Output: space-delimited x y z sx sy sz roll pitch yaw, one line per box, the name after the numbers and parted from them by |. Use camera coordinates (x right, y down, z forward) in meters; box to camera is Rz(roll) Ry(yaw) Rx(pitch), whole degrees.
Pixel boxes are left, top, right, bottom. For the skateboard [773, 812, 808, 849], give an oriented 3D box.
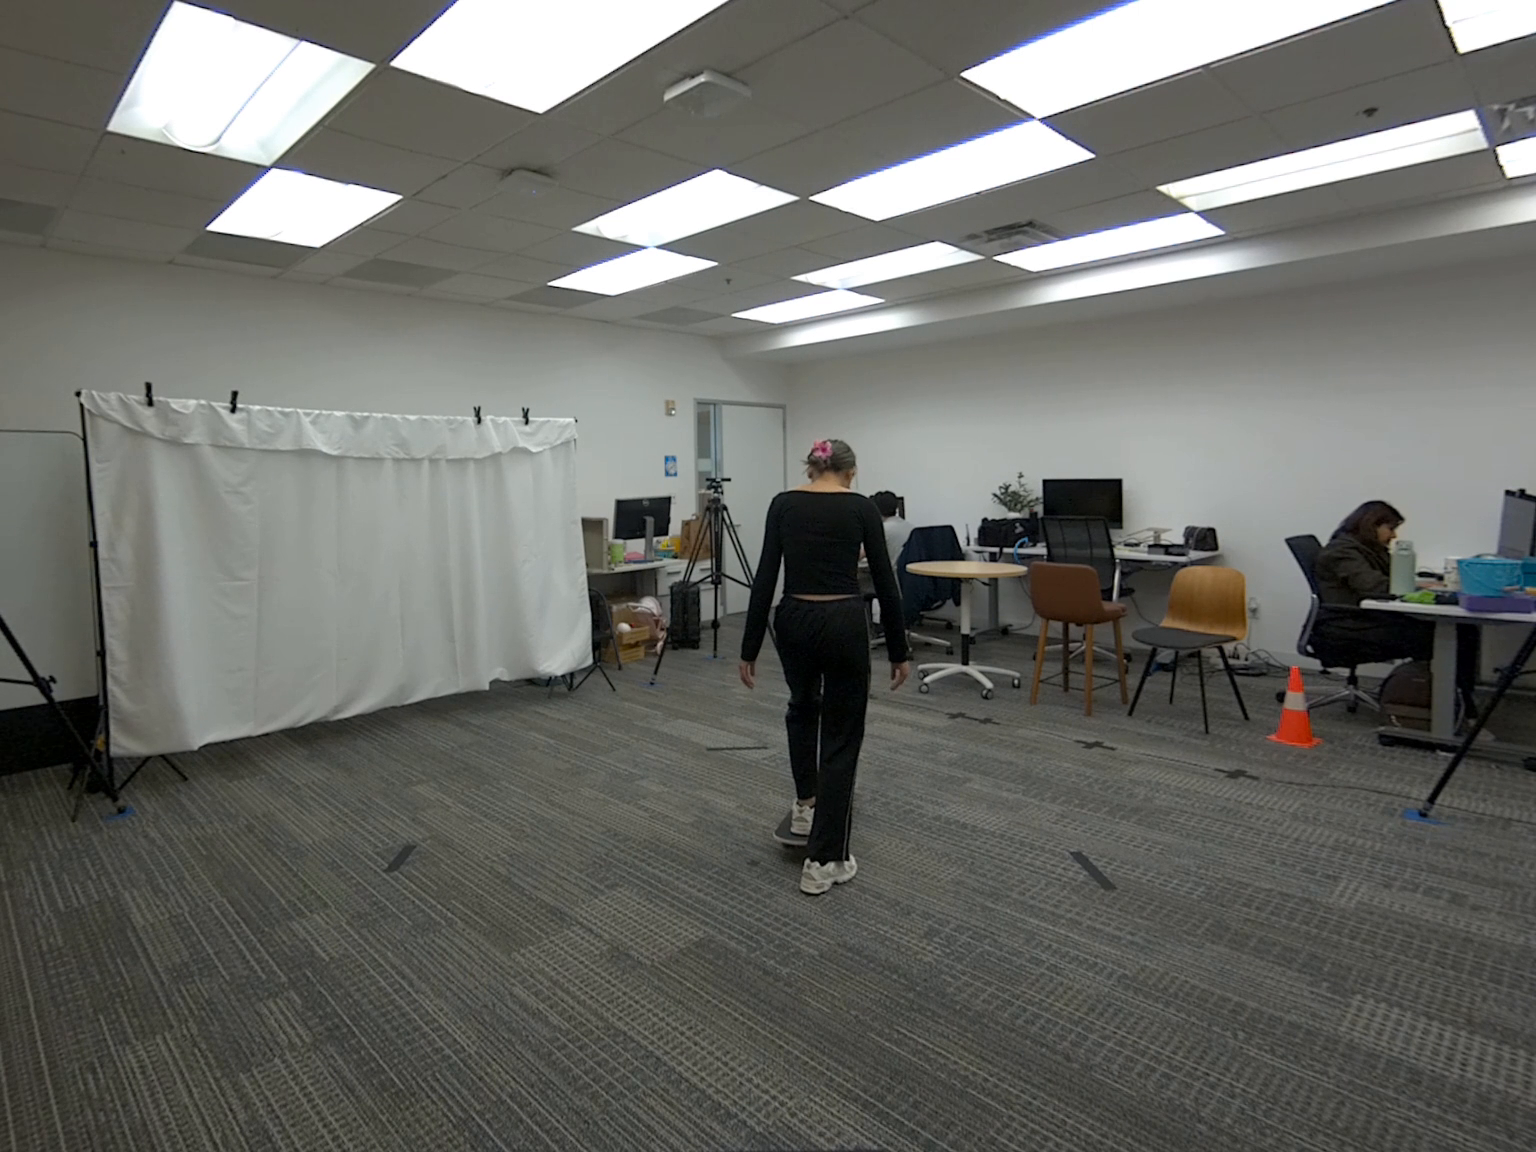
0.207 0.950 3.407 0.197 0.110 0.776 0 7 16 | skateboard
